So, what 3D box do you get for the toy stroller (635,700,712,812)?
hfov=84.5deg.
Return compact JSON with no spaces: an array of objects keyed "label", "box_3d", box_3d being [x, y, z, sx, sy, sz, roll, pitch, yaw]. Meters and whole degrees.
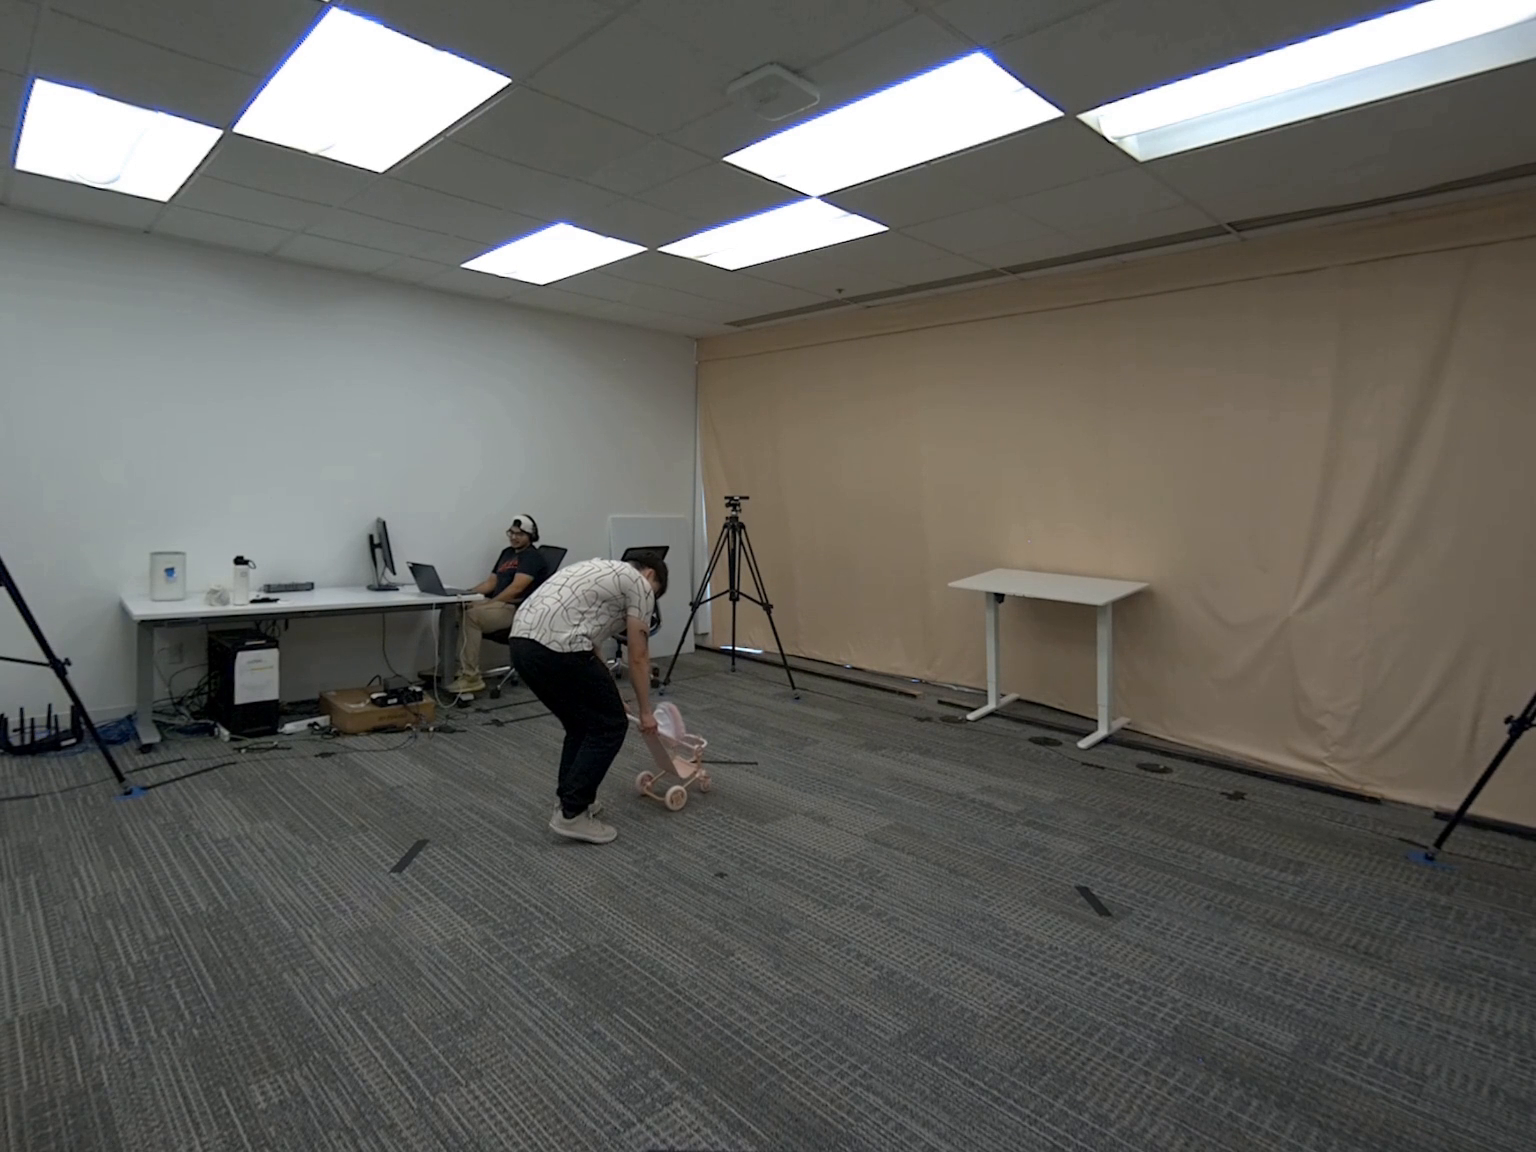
[{"label":"toy stroller","box_3d":[-0.449,0.804,3.862,0.337,0.529,0.288,-22,16,-32]}]
